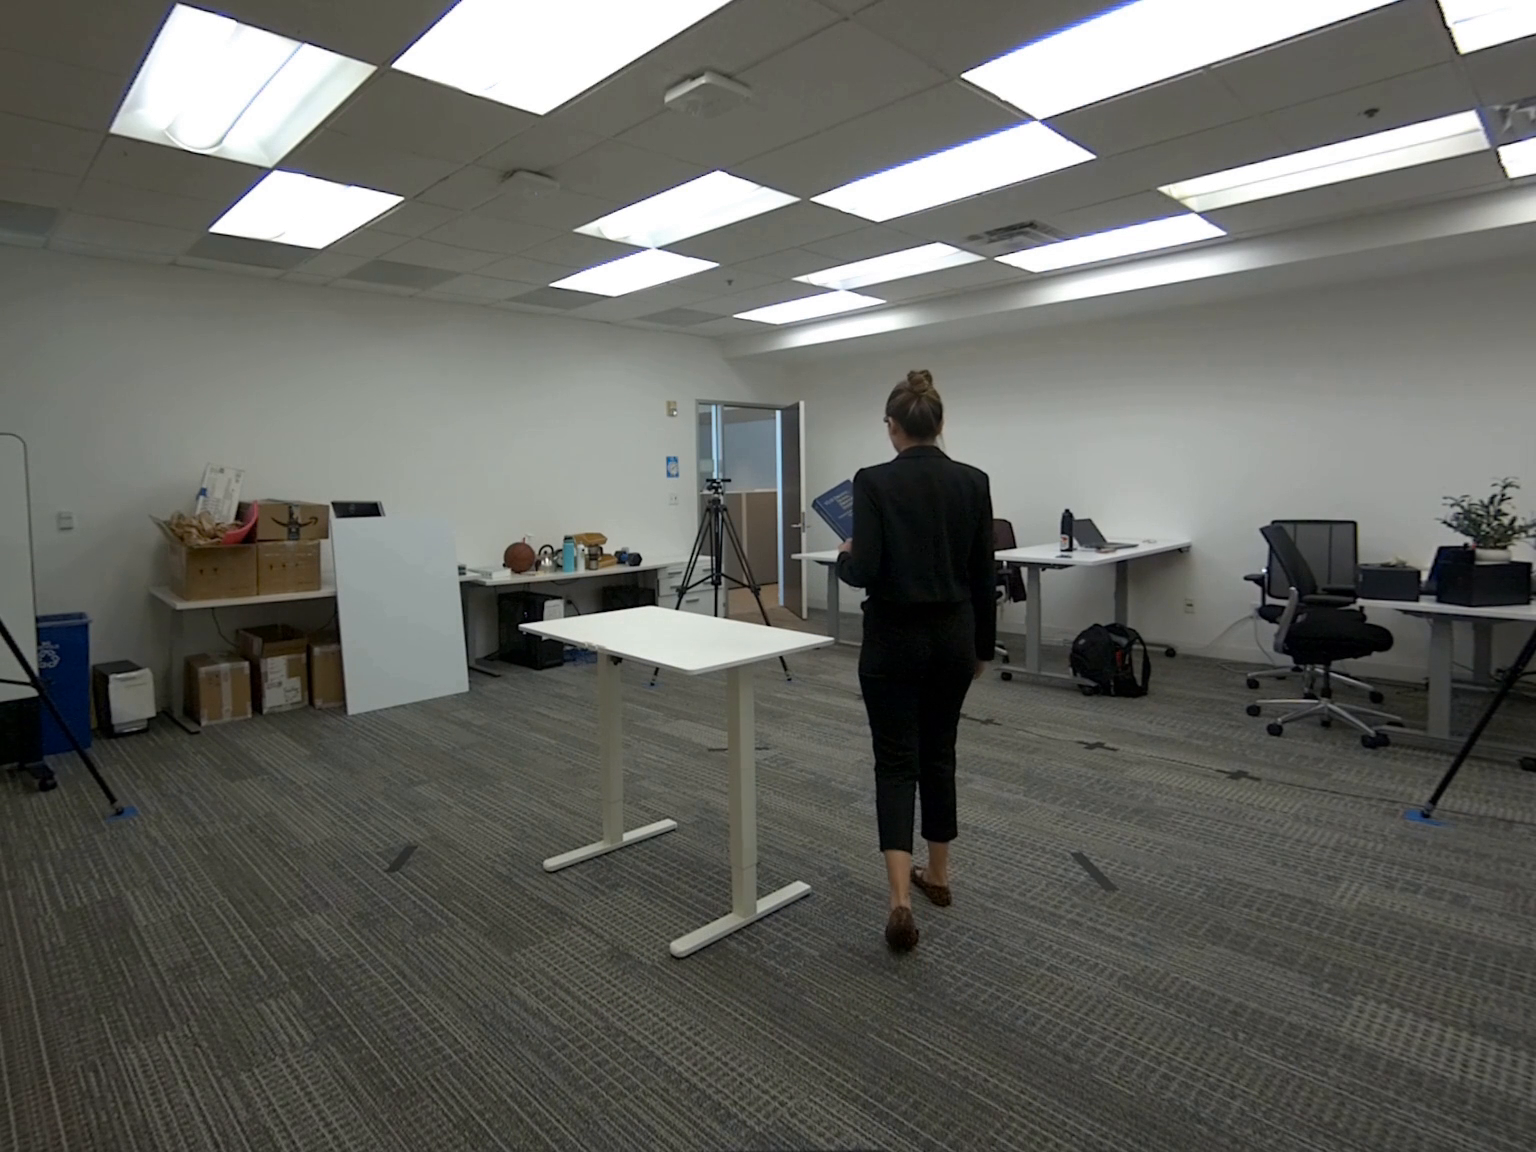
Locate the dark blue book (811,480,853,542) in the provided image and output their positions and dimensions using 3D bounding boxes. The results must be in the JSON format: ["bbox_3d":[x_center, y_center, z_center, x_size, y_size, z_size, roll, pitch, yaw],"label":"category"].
[{"bbox_3d":[0.291,-0.202,2.923,0.162,0.251,0.044,-32,-23,-25],"label":"dark blue book"}]
